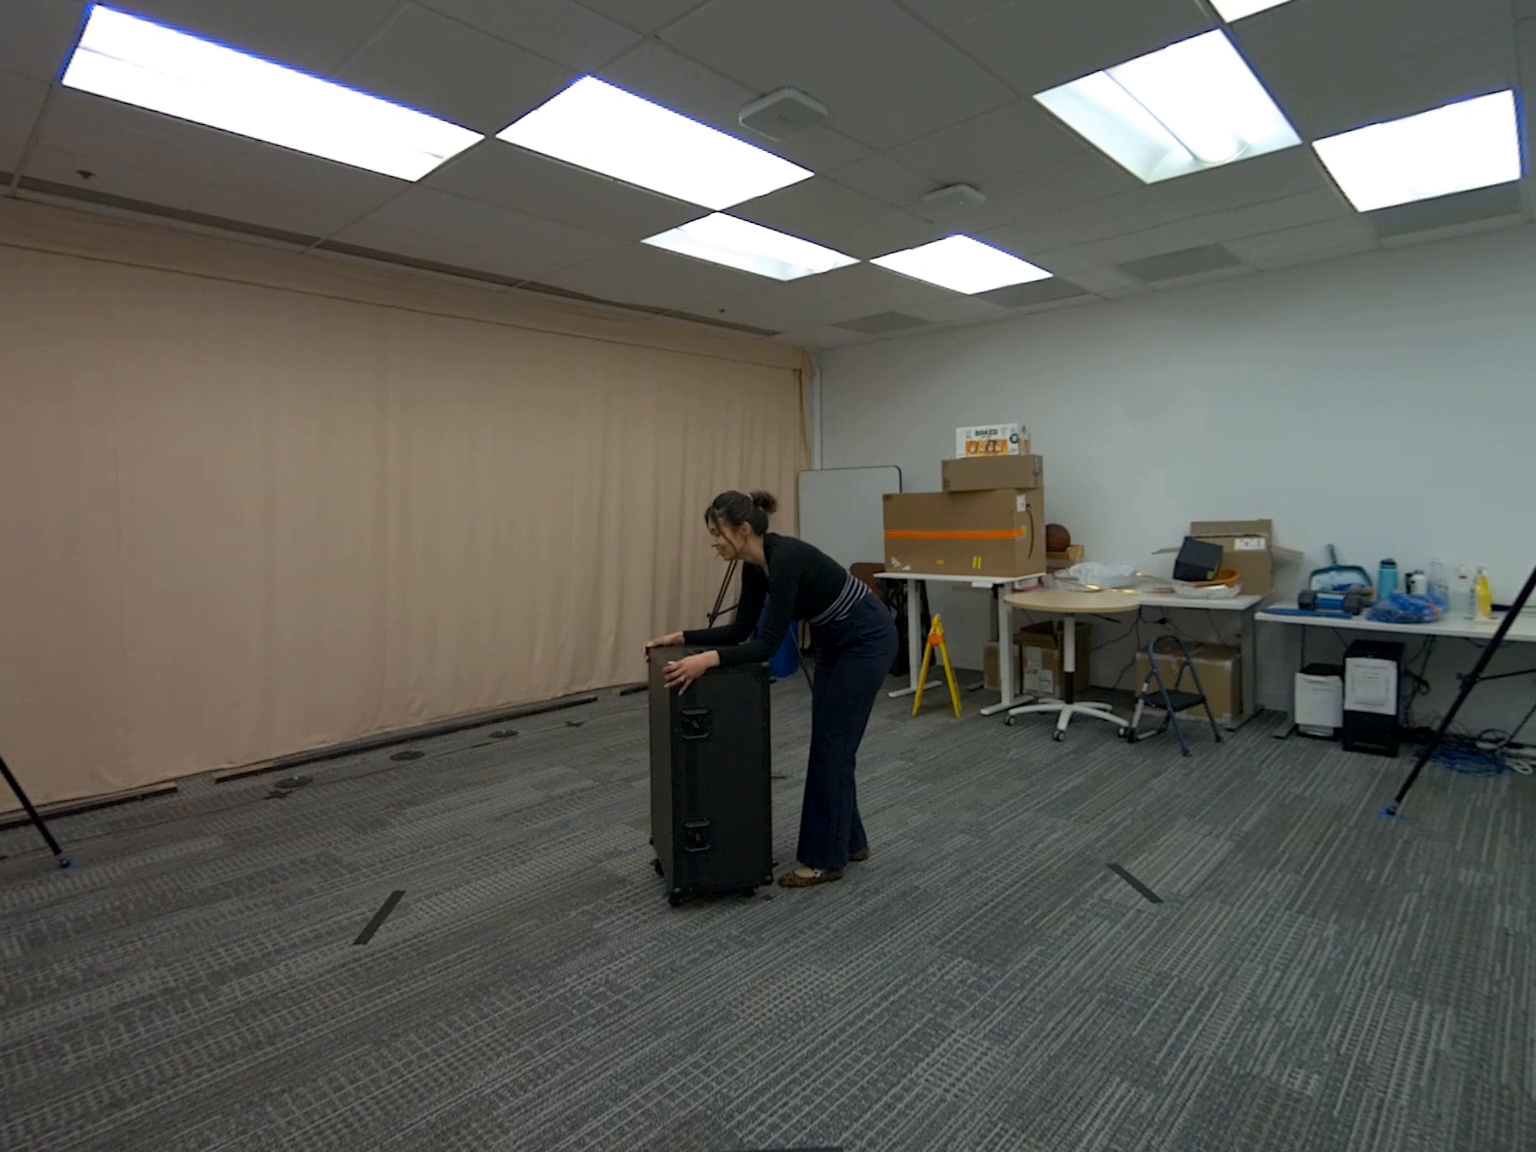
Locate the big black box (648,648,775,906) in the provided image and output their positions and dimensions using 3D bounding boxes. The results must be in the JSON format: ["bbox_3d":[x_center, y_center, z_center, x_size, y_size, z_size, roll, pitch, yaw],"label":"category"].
[{"bbox_3d":[-0.217,0.709,3.109,0.390,0.860,0.530,0,3,-16],"label":"big black box"}]
